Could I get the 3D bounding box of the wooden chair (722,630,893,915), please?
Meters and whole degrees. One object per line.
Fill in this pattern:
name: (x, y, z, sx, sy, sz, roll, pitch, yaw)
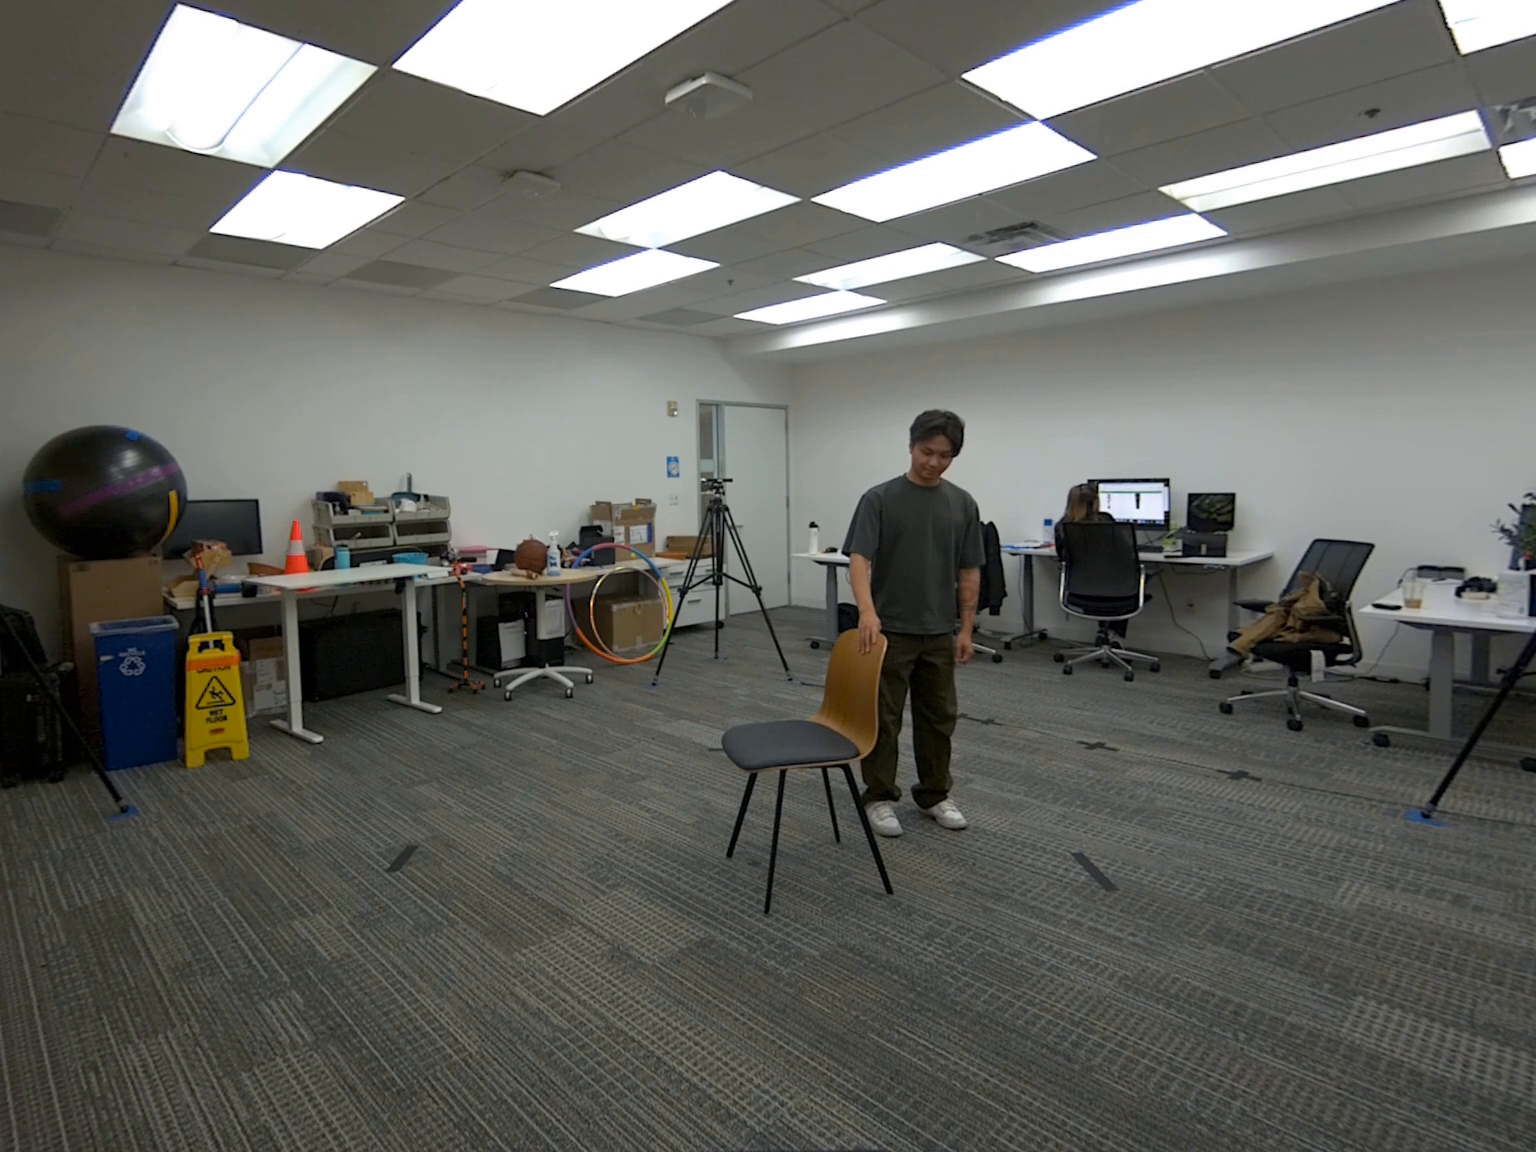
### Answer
wooden chair: (0.122, 0.630, 2.975, 0.514, 0.875, 0.487, 2, 4, -18)
